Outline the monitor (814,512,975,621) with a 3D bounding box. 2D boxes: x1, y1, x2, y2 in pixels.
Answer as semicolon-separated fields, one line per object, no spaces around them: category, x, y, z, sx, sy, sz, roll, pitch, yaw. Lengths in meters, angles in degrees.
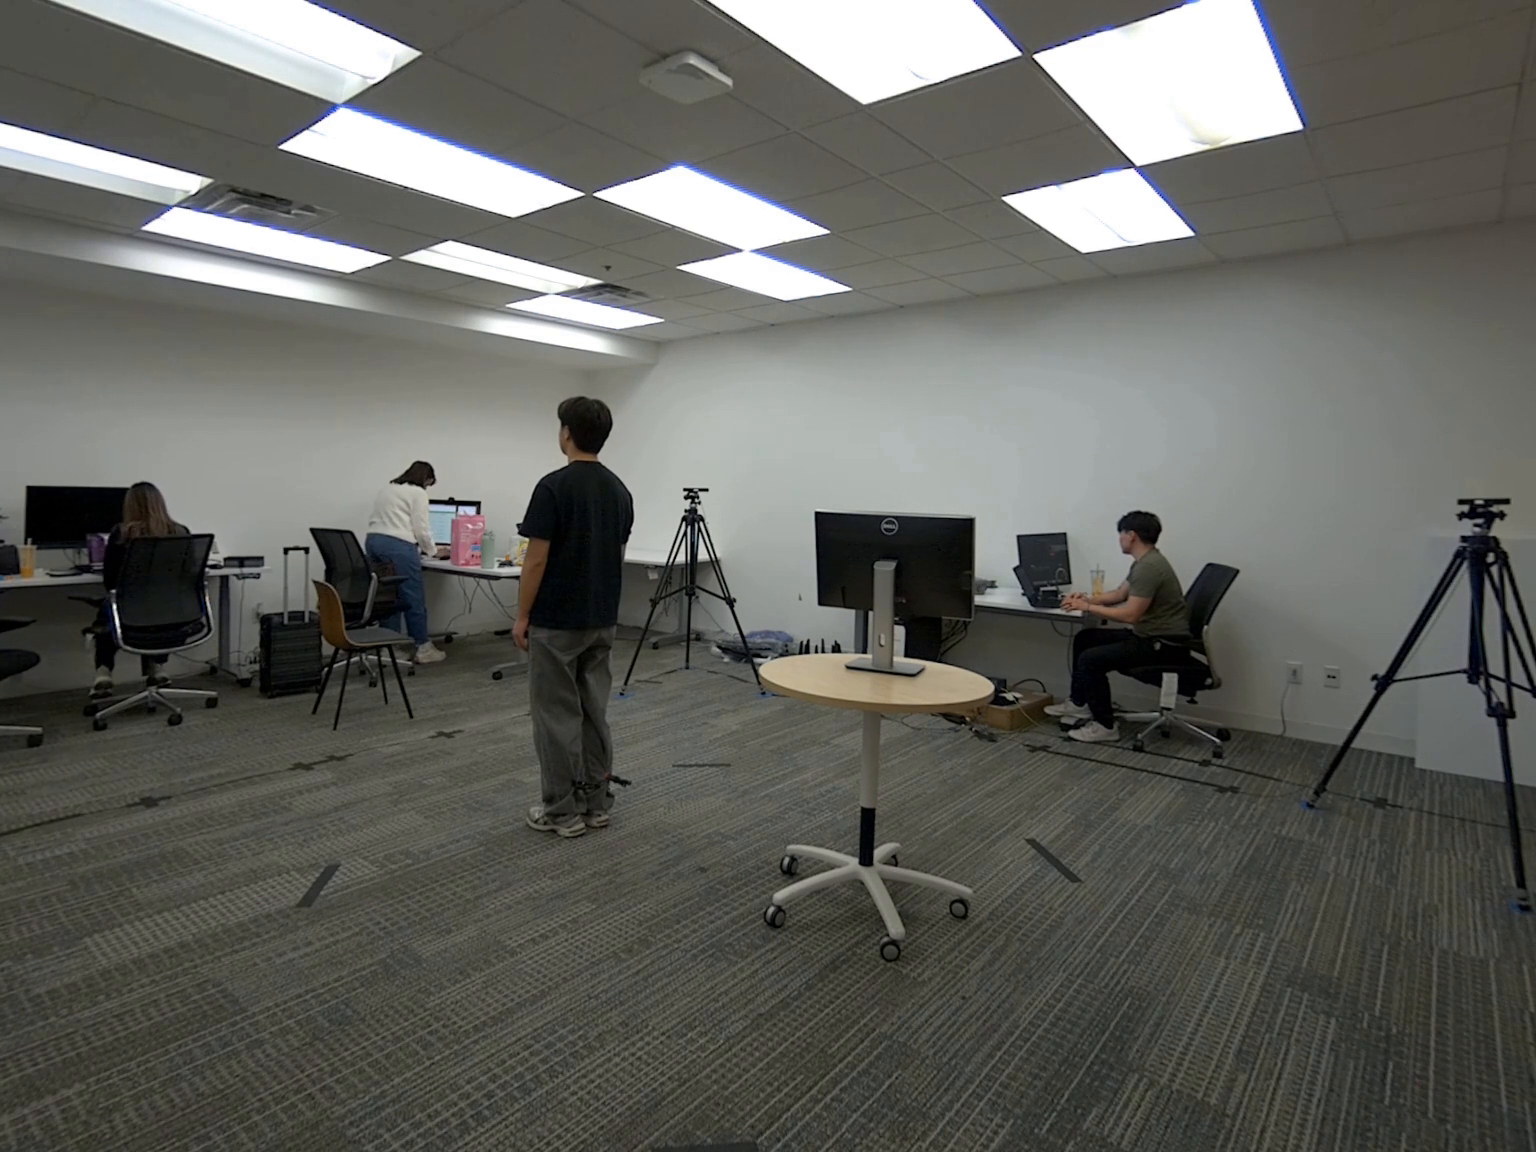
monitor;0.417;0.058;2.961;0.577;0.565;0.216;4;1;26
